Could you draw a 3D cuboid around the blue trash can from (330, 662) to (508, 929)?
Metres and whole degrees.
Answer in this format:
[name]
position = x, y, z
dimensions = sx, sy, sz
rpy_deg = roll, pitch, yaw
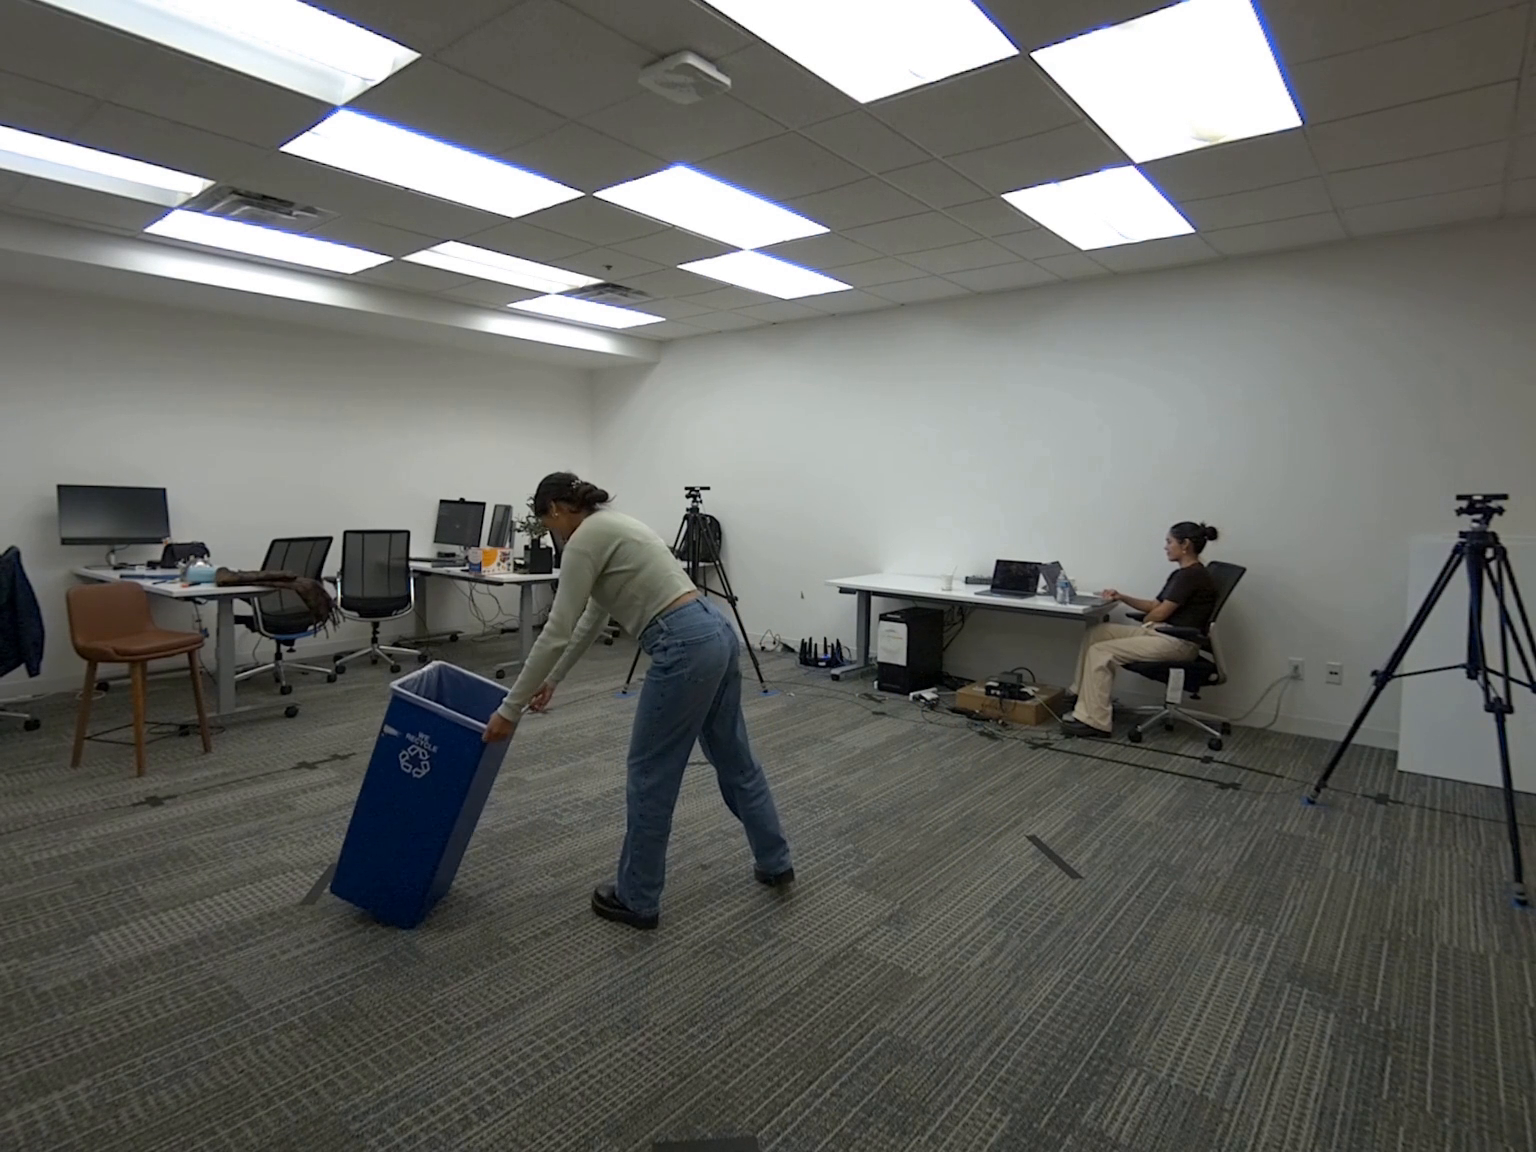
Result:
[blue trash can]
position = -1.103, 0.706, 2.780
dimensions = 0.376, 0.711, 0.378
rpy_deg = 21, 6, 2
